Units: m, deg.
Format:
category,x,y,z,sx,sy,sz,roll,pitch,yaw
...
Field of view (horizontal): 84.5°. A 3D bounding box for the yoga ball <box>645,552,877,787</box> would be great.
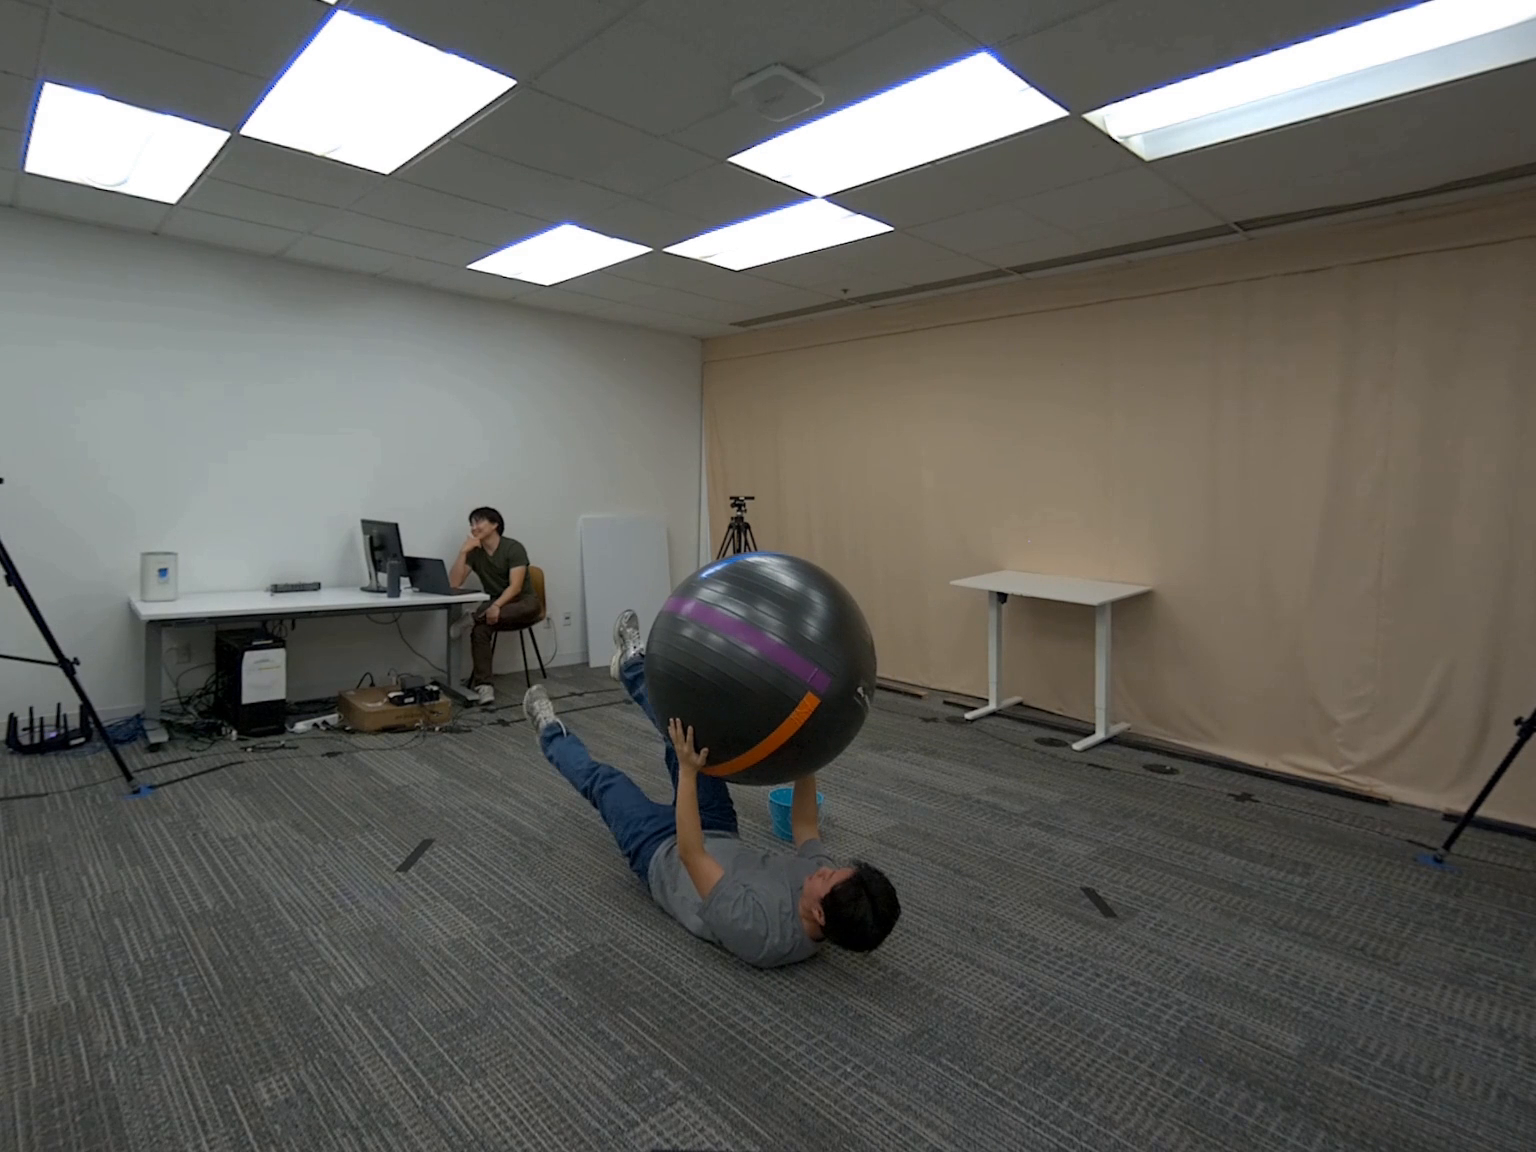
category,x,y,z,sx,sy,sz,roll,pitch,yaw
yoga ball,-0.023,0.304,2.765,0.757,0.756,0.761,1,4,-1
